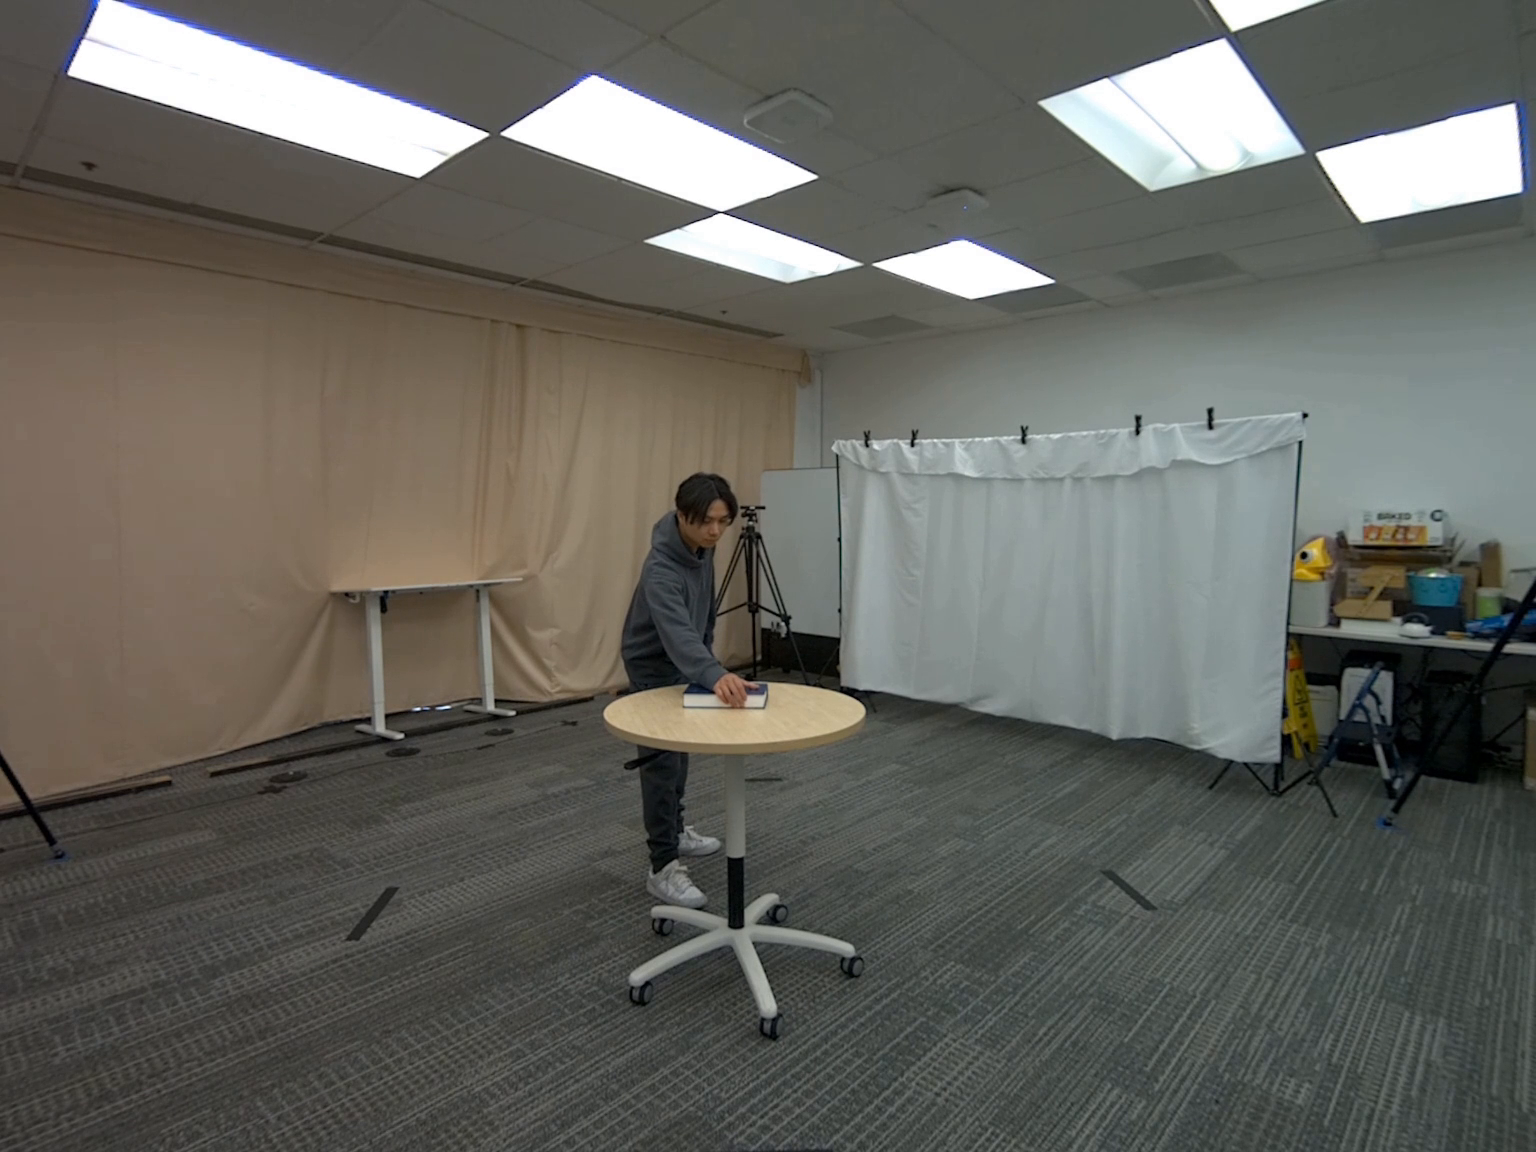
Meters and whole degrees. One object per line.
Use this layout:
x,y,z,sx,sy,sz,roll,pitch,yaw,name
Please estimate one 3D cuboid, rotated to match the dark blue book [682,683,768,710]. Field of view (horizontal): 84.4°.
-0.118,0.366,2.562,0.247,0.045,0.163,0,5,5,dark blue book
